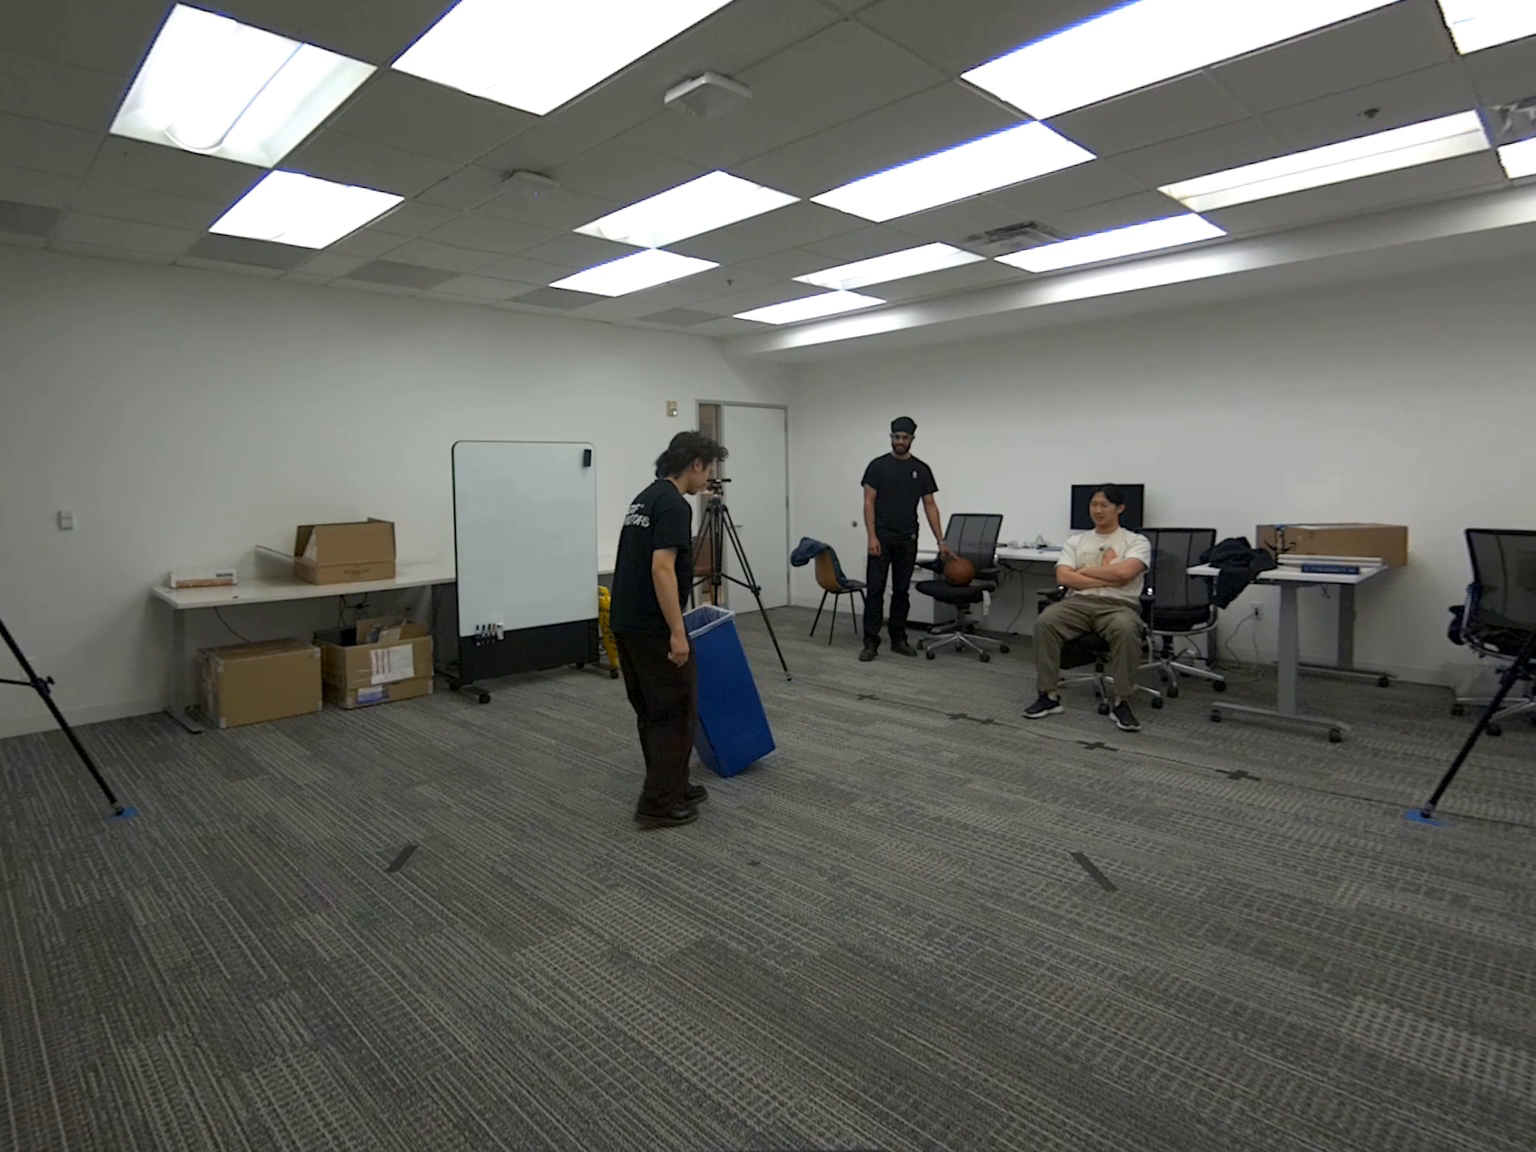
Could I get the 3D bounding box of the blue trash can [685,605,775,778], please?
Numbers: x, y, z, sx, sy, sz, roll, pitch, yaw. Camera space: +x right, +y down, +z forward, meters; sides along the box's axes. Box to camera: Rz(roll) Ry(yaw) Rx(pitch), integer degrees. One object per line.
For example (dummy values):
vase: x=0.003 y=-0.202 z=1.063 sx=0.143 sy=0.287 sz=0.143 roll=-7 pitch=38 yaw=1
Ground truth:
blue trash can: x=-0.274 y=0.555 z=4.113 sx=0.370 sy=0.705 sz=0.387 roll=-24 pitch=12 yaw=-23
